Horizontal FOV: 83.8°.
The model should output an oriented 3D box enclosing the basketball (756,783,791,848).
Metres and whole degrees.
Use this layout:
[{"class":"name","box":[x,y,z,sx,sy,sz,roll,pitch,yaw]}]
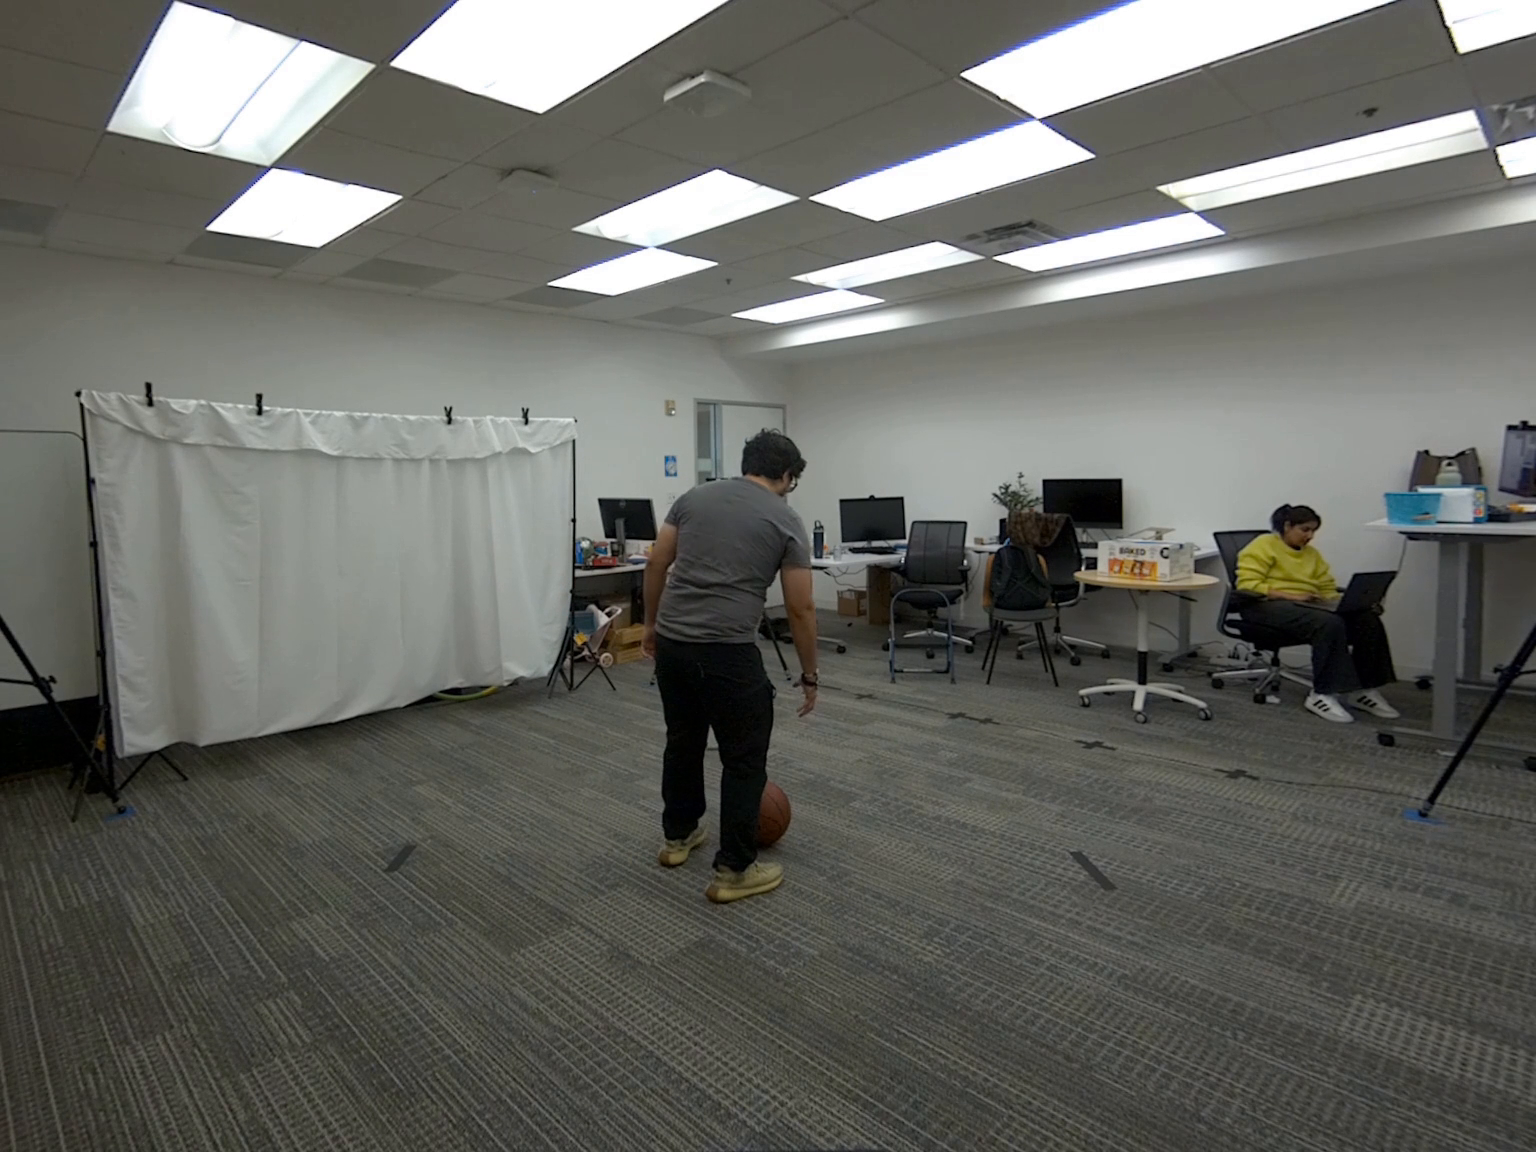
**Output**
[{"class":"basketball","box":[-0.031,0.906,3.270,0.236,0.235,0.237,-1,5,-2]}]
